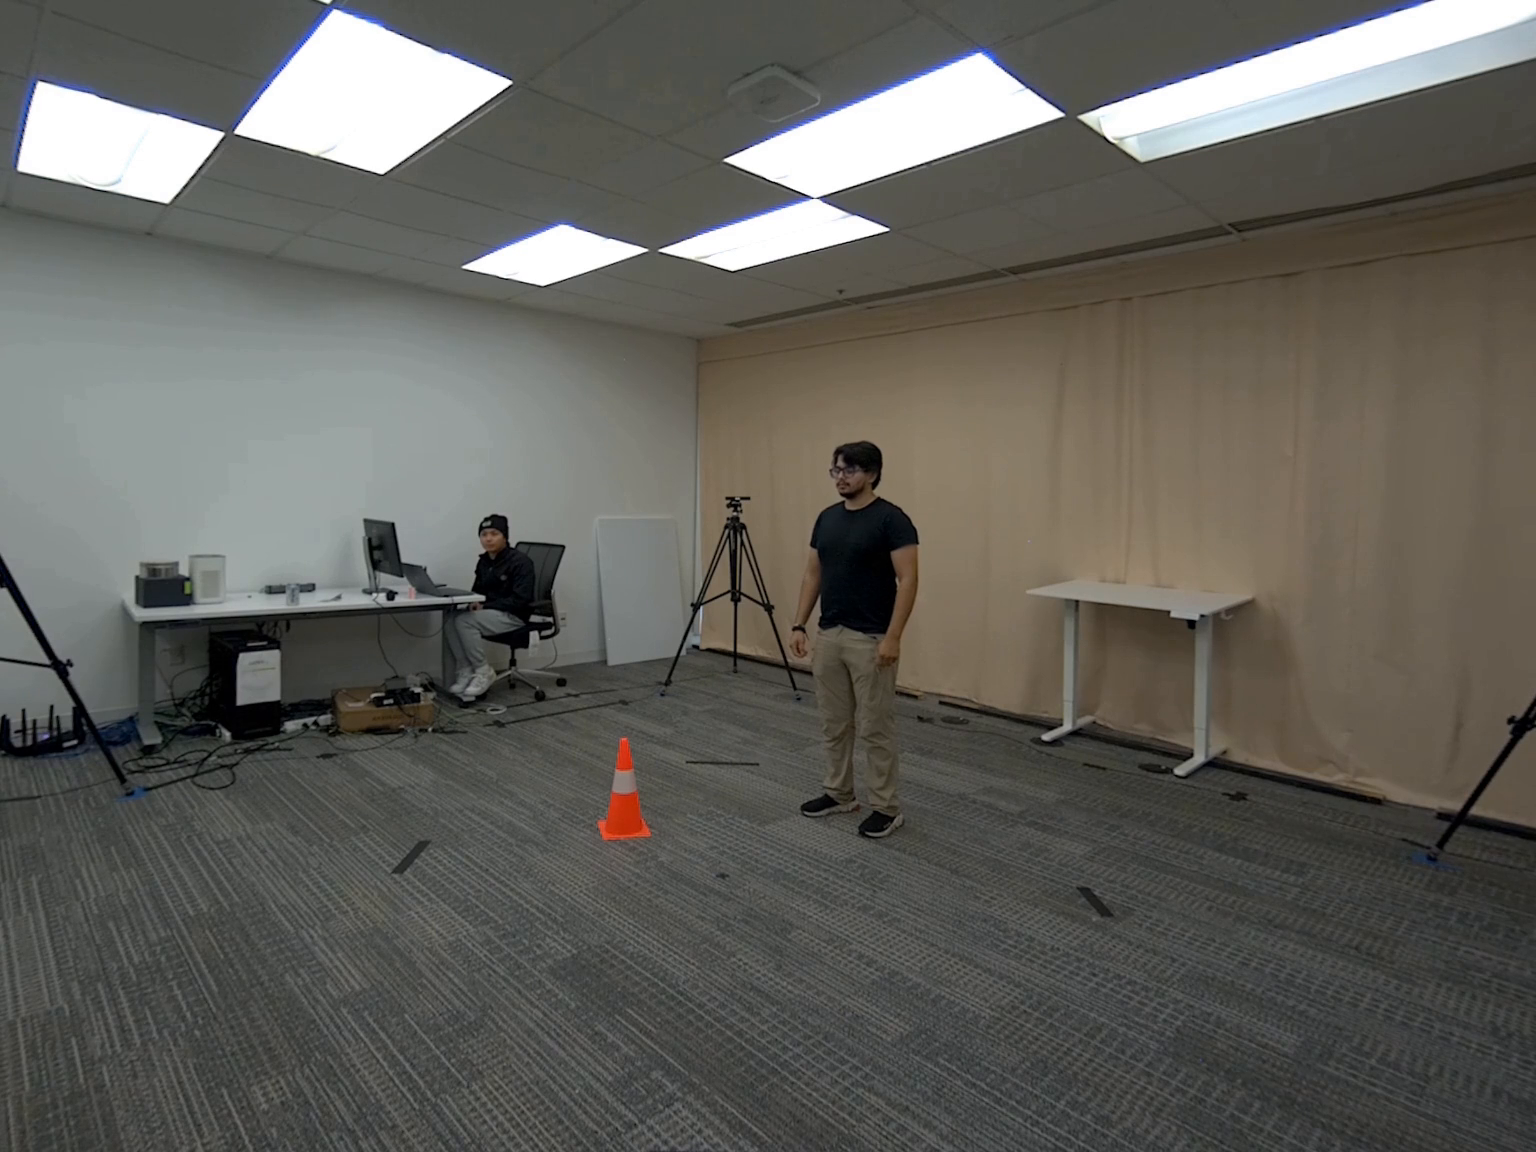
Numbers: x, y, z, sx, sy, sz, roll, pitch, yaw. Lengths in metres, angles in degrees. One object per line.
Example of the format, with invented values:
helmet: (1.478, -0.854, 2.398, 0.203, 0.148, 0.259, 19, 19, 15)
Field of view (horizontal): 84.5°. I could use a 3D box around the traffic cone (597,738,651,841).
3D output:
traffic cone: (-0.610, 0.873, 3.510, 0.201, 0.382, 0.208, -1, 5, -16)
